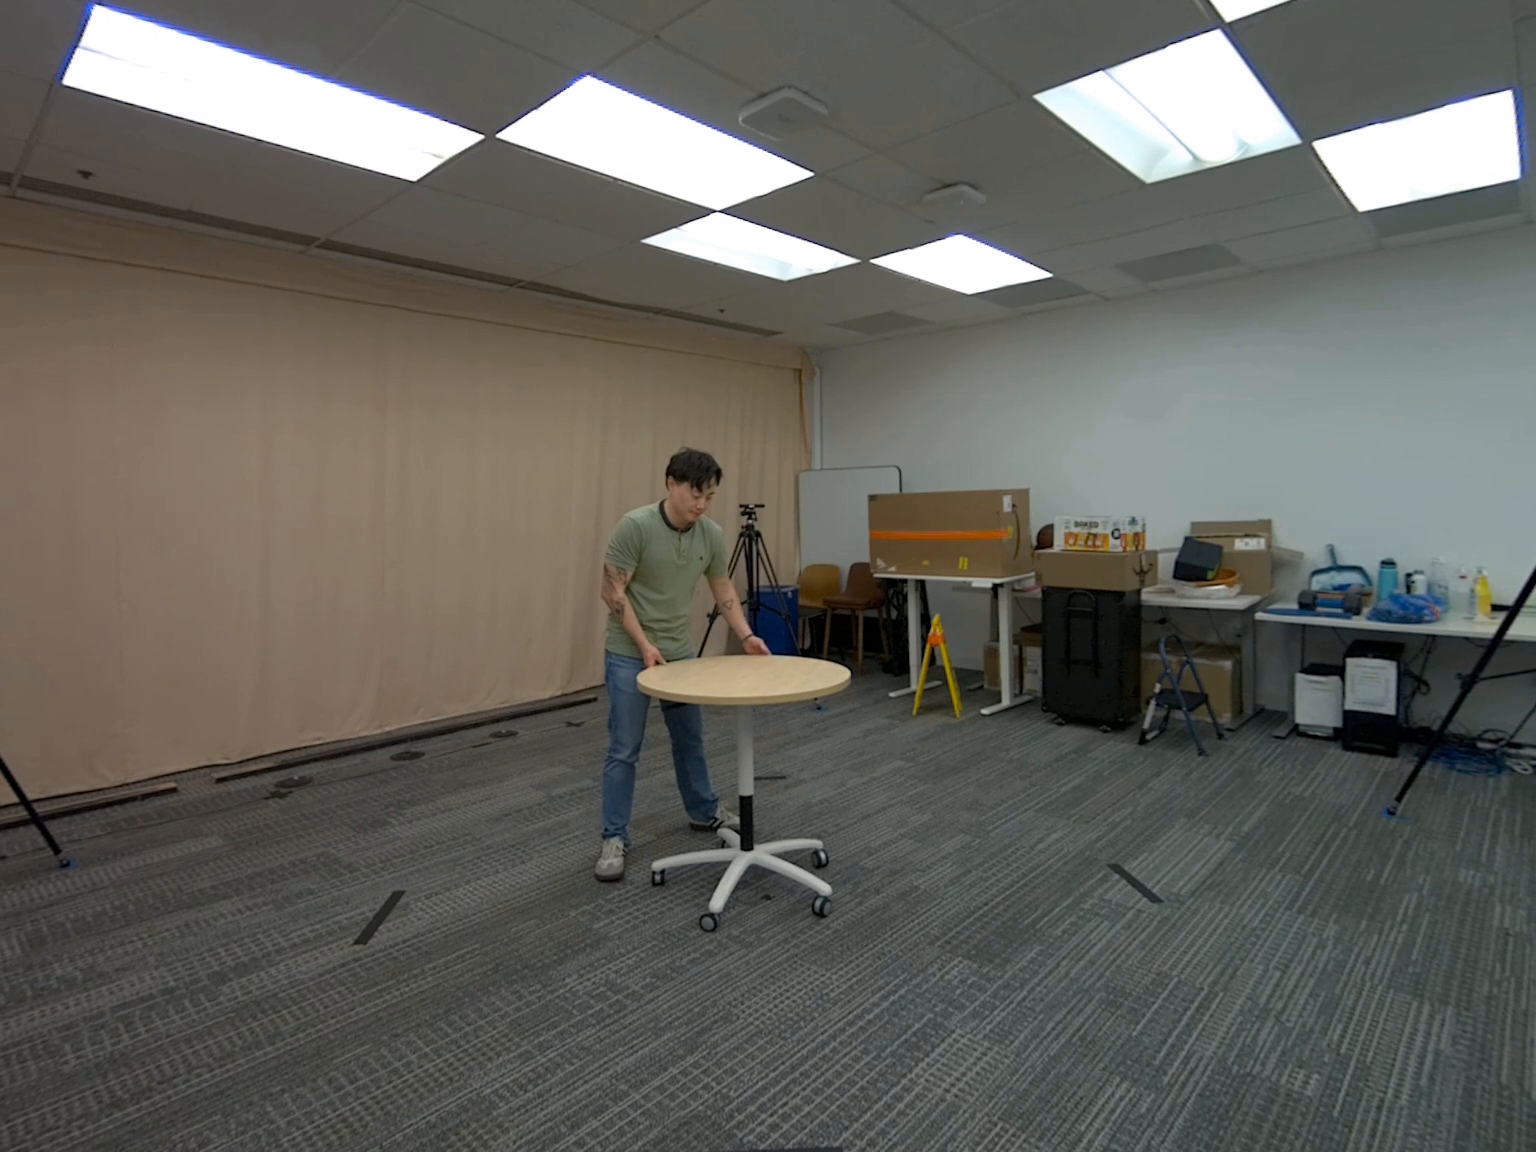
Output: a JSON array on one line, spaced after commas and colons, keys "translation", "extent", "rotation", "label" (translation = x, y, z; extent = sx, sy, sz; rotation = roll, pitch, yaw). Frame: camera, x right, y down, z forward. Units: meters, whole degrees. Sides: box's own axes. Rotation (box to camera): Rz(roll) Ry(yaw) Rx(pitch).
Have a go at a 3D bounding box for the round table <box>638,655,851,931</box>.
[{"translation": [-0.078, 0.744, 3.052], "extent": [0.763, 0.792, 0.766], "rotation": [-1, 4, -2], "label": "round table"}]
